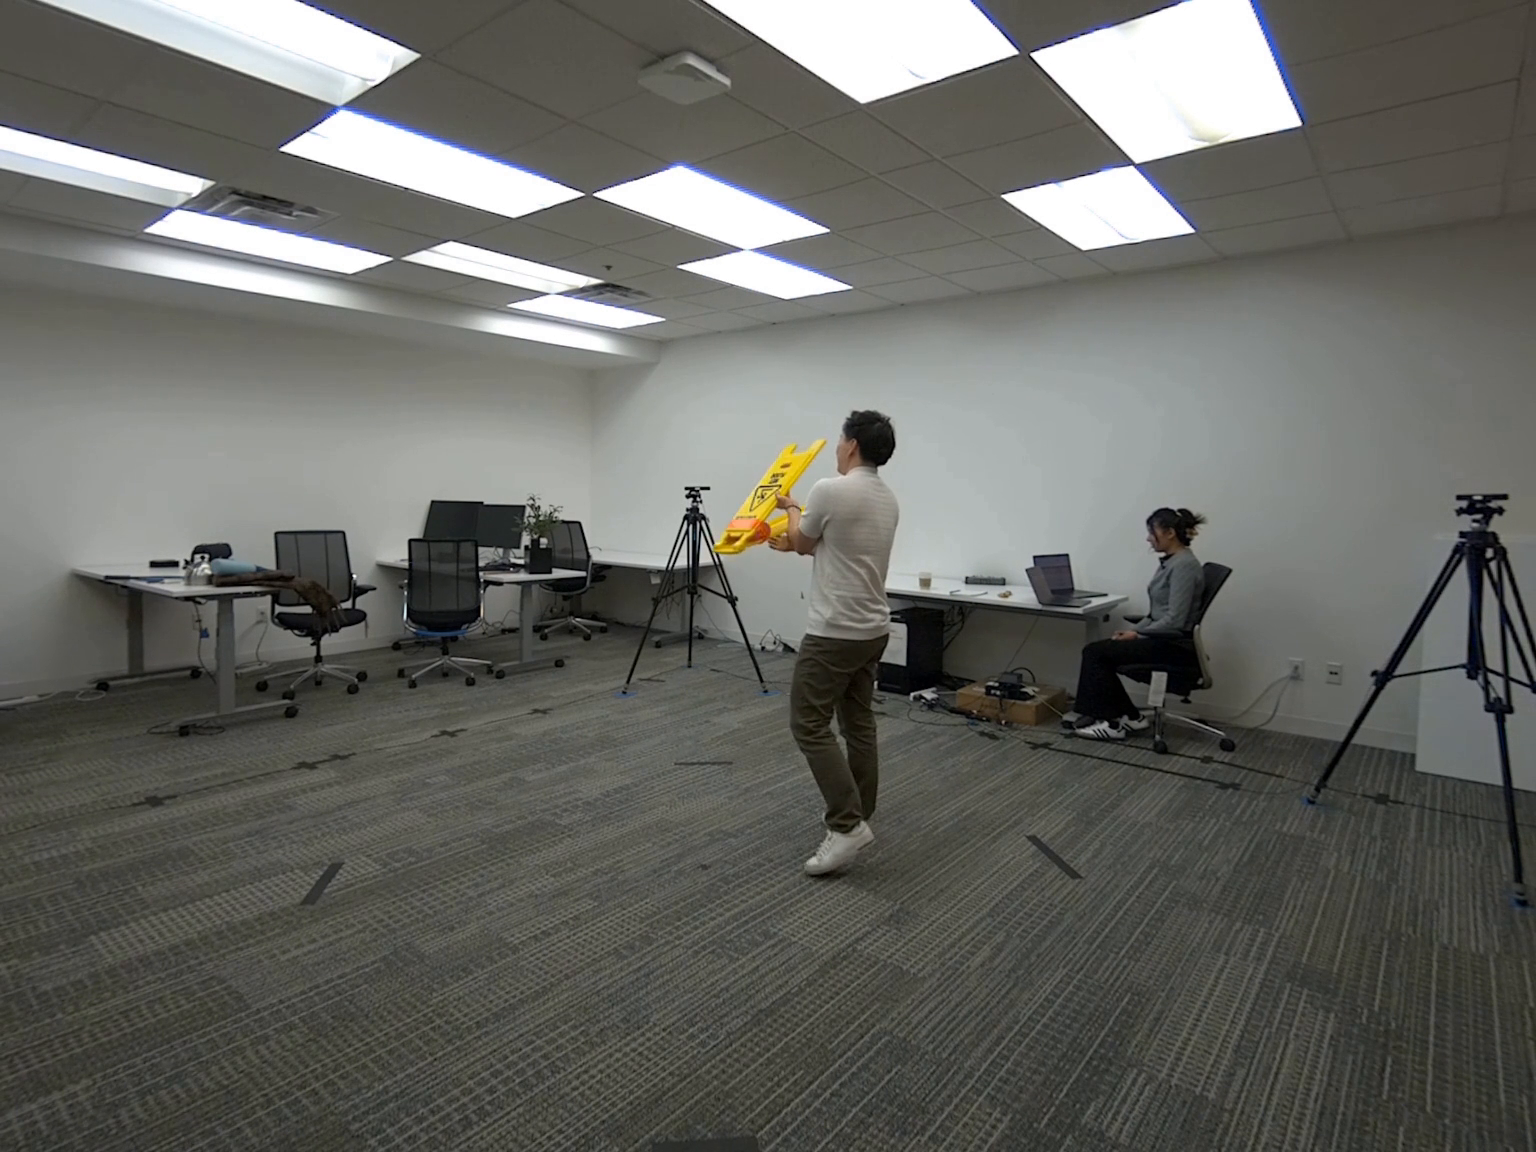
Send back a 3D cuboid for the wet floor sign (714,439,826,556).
[{"bbox_3d":[0.016,-0.293,3.713,0.643,0.283,0.290,-41,21,-25],"label":"wet floor sign"}]
